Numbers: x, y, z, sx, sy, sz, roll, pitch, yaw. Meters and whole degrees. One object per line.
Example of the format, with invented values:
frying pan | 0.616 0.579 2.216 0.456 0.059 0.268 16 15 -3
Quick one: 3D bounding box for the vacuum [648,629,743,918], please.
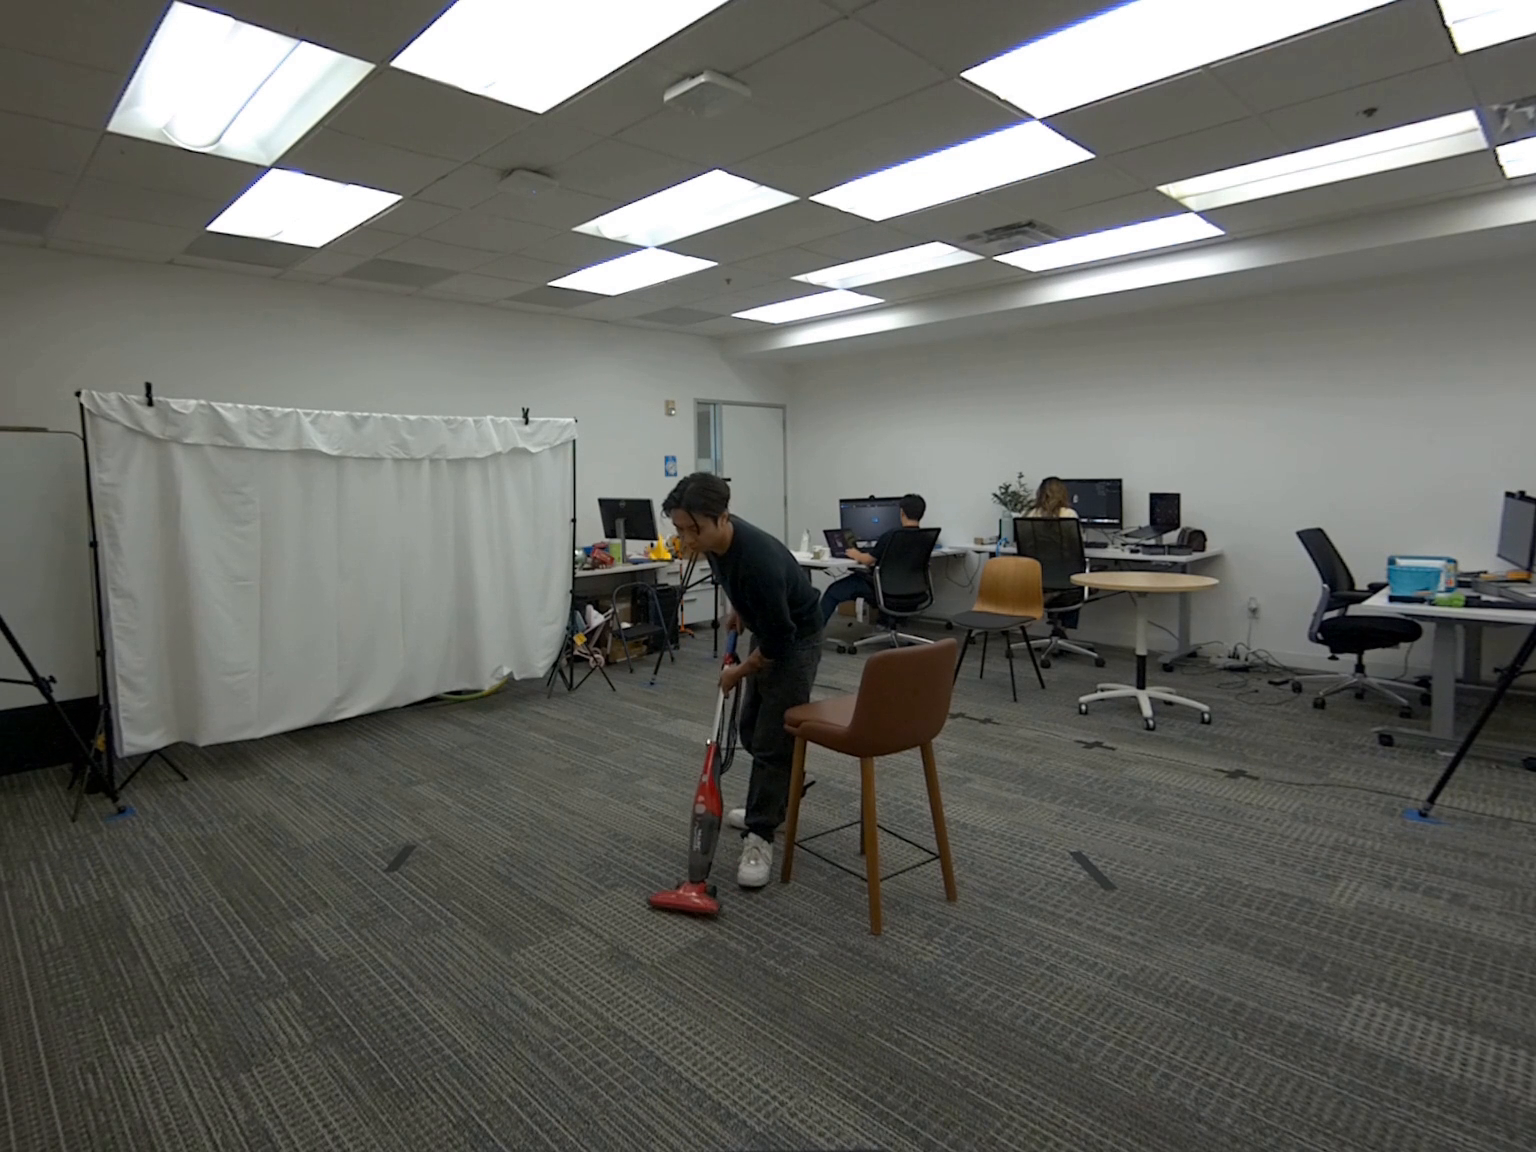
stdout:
vacuum | -0.184 0.617 3.042 0.258 1.069 0.138 -5 -33 24
